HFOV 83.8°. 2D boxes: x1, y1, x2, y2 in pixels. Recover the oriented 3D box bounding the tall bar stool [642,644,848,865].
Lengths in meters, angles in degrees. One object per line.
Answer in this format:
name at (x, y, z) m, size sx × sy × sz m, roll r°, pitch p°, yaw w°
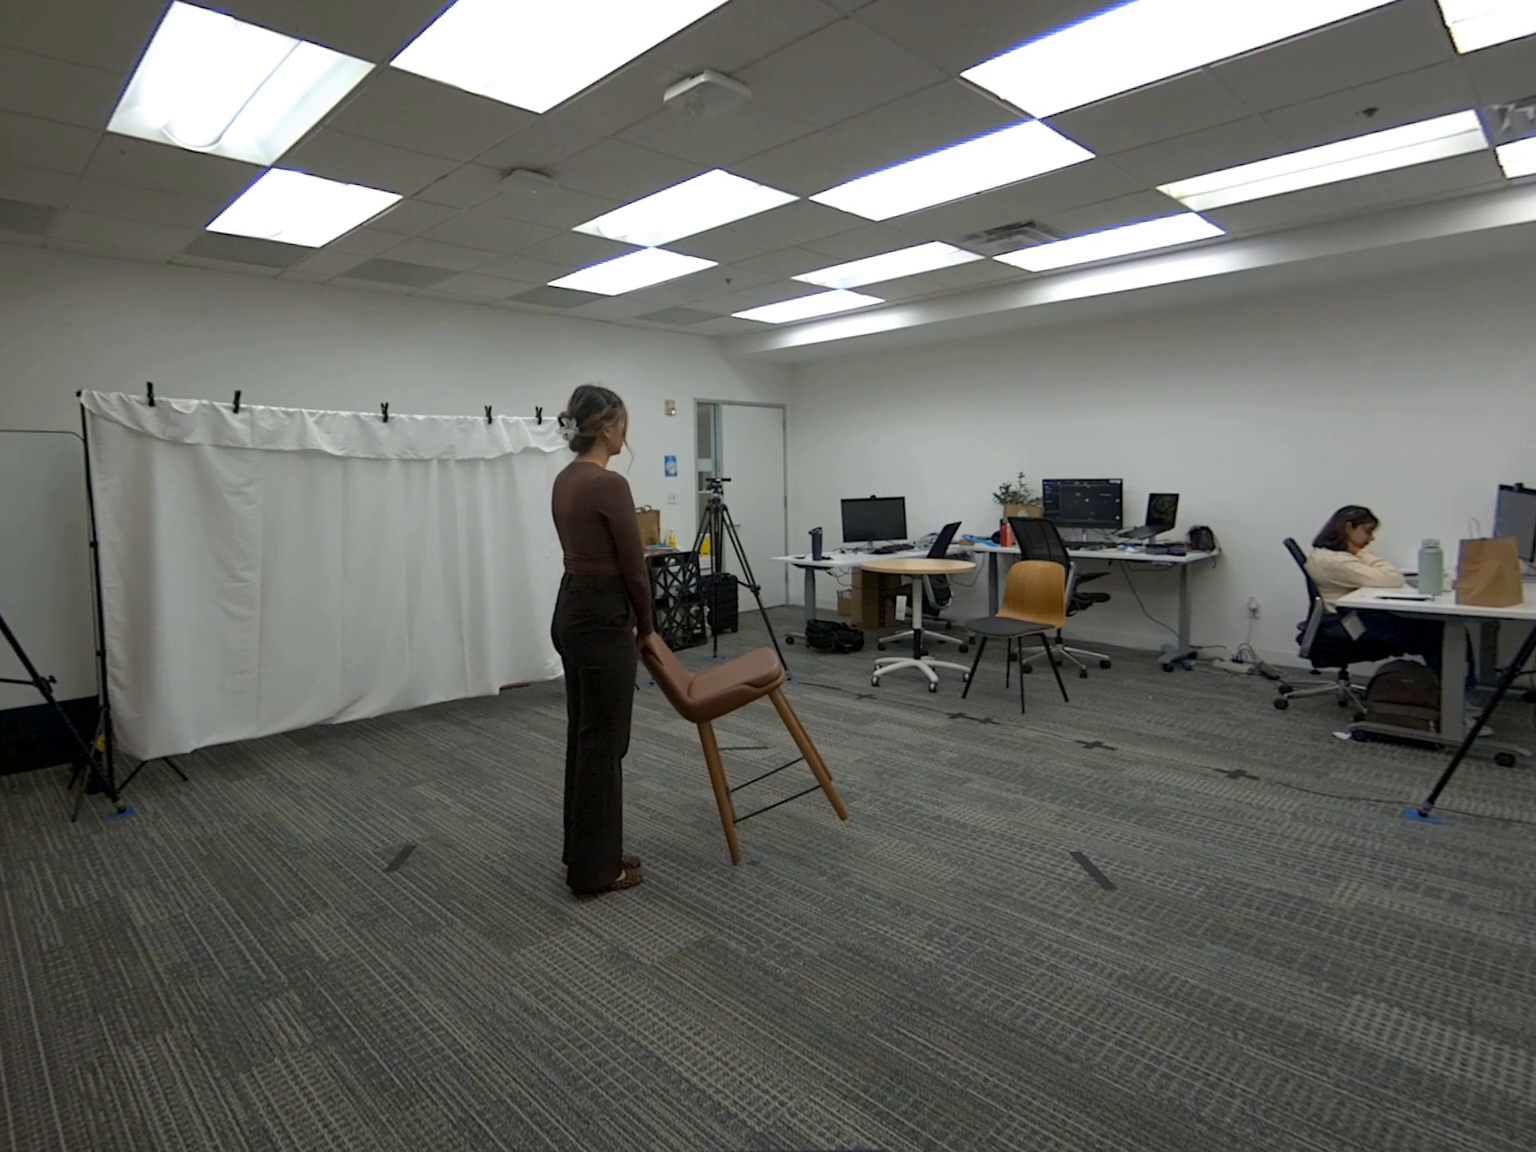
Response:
tall bar stool at (-0.109, 0.545, 3.248) m, size 0.468 × 0.886 × 0.459 m, roll -25°, pitch 4°, yaw 0°
